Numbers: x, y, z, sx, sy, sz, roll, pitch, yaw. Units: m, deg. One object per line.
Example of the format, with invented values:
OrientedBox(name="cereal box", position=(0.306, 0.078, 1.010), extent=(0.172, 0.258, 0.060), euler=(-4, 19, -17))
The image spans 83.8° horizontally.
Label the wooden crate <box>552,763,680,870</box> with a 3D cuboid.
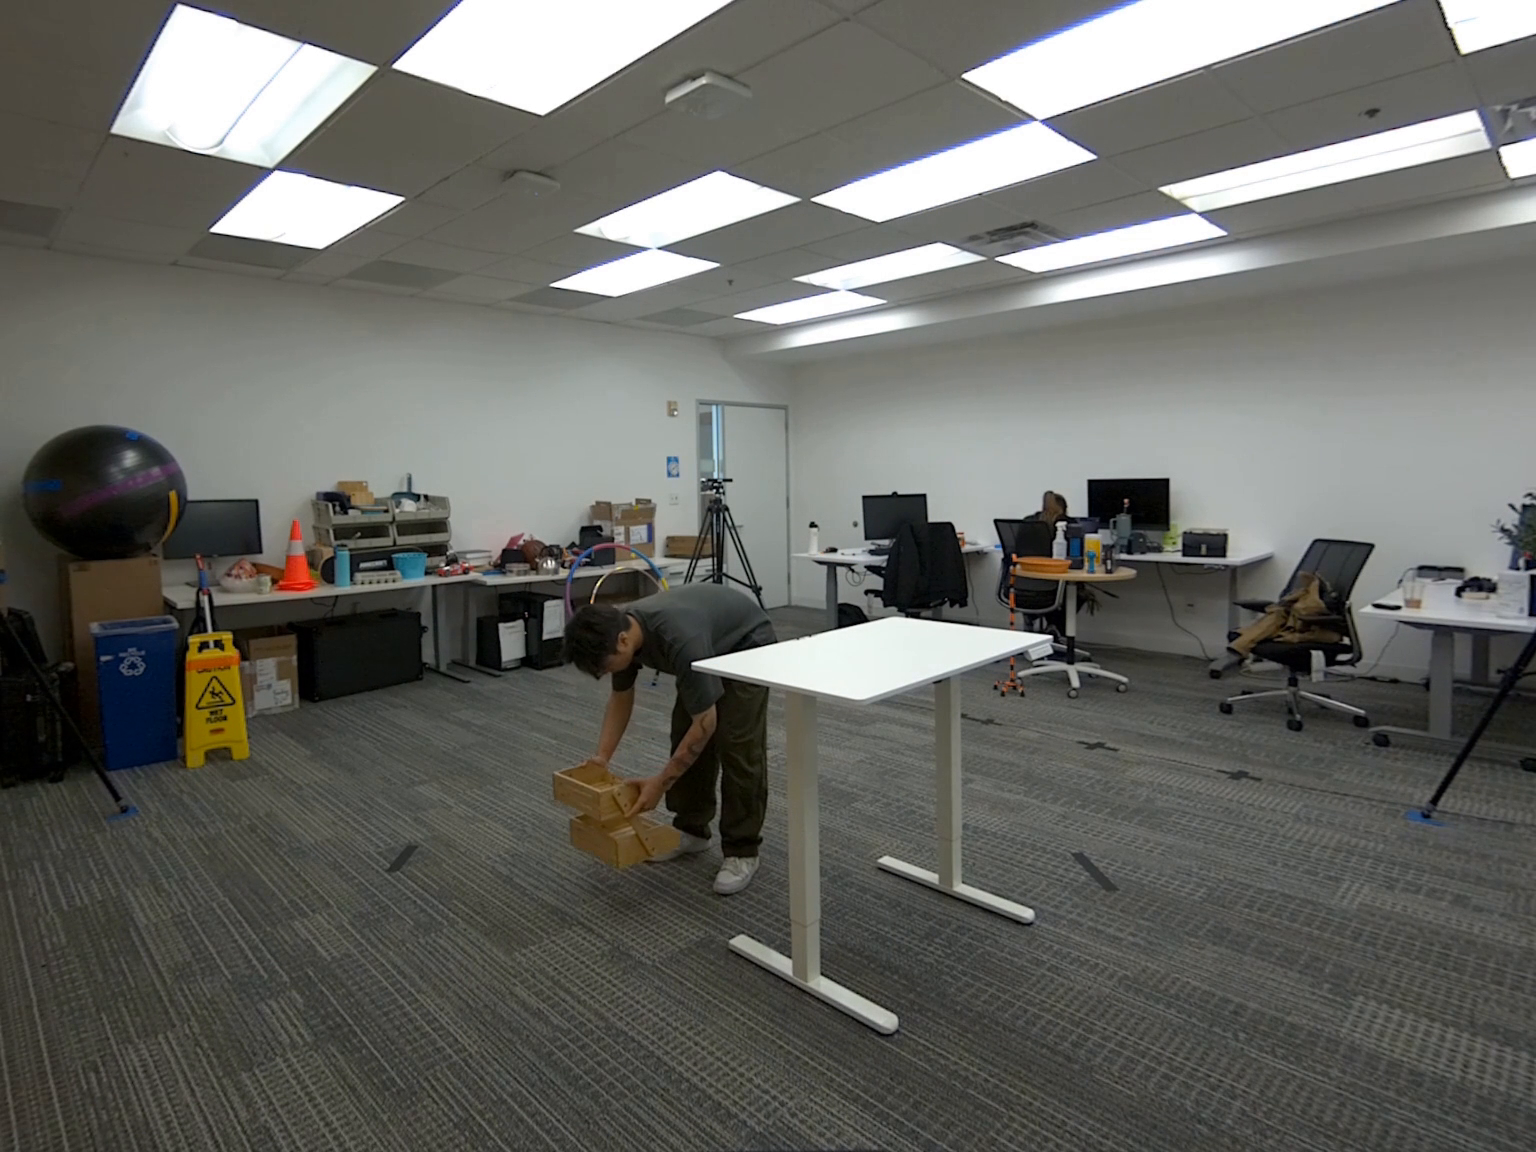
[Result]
OrientedBox(name="wooden crate", position=(-0.509, 0.774, 2.843), extent=(0.294, 0.272, 0.334), euler=(-7, 5, -42))
